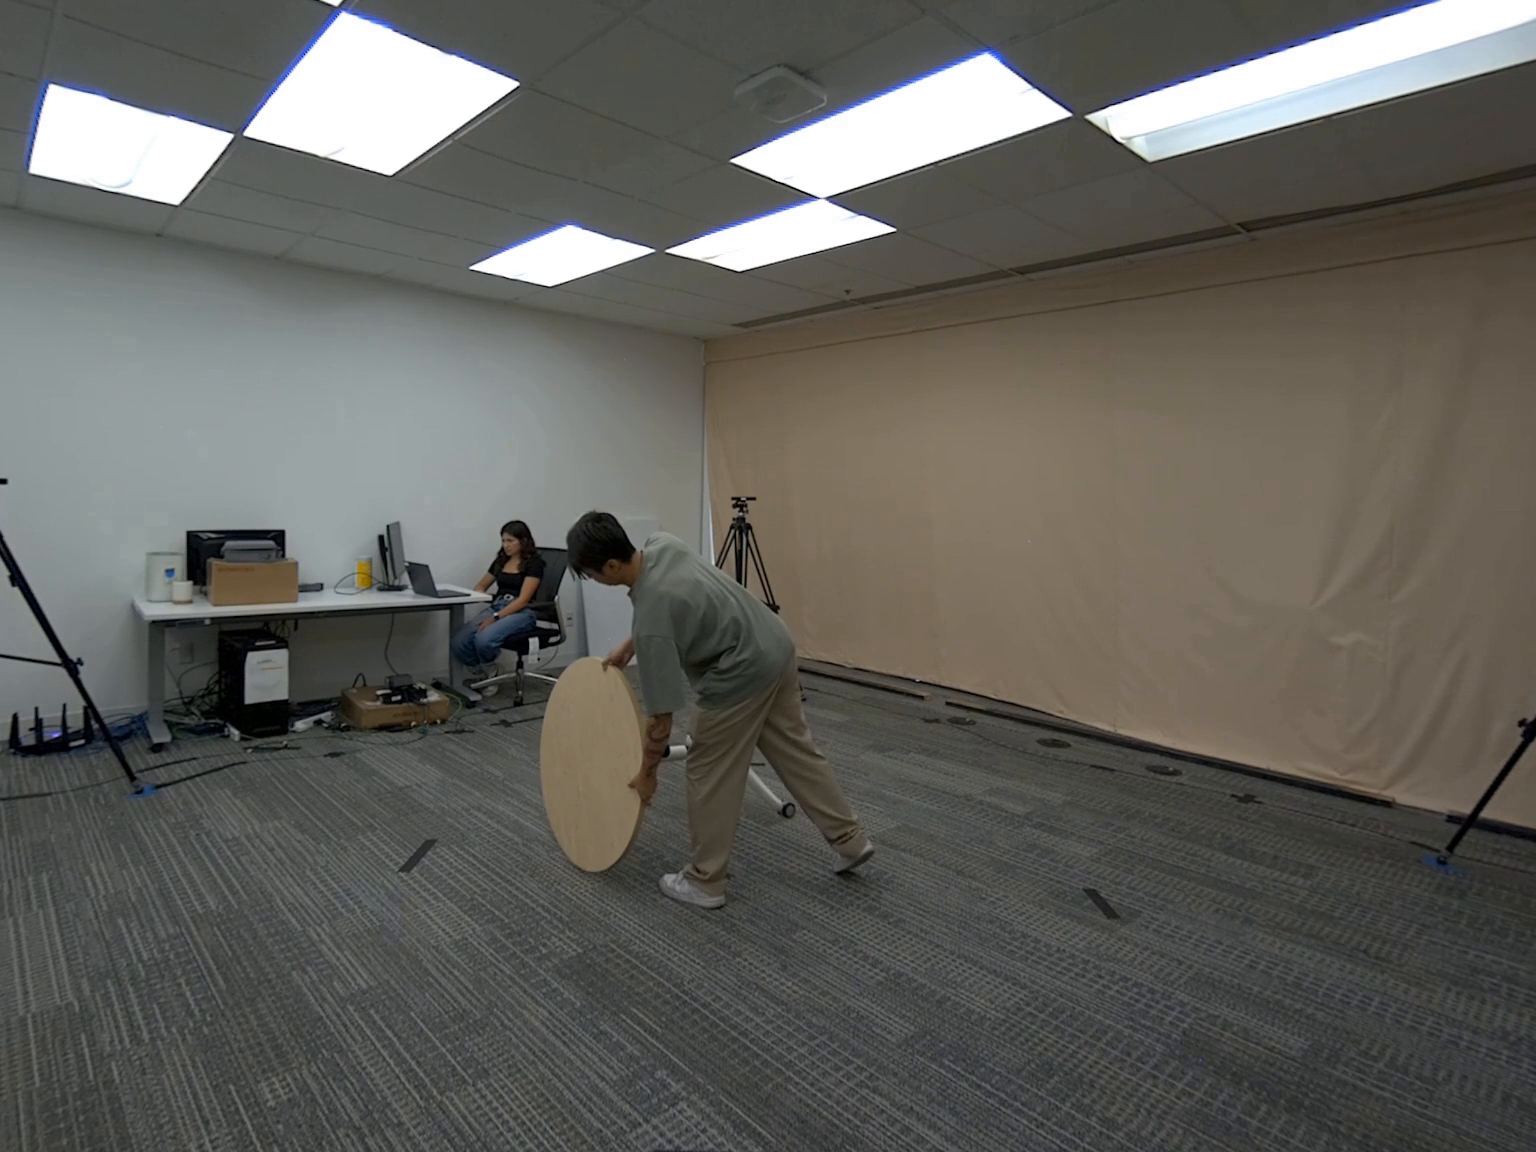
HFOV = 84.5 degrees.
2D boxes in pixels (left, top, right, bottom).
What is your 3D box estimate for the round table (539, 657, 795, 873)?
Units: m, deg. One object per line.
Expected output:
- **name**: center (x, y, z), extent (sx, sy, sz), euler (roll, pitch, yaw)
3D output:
- **round table**: center (-0.379, 0.712, 3.361), extent (0.766, 0.785, 0.805), euler (6, 0, -40)
